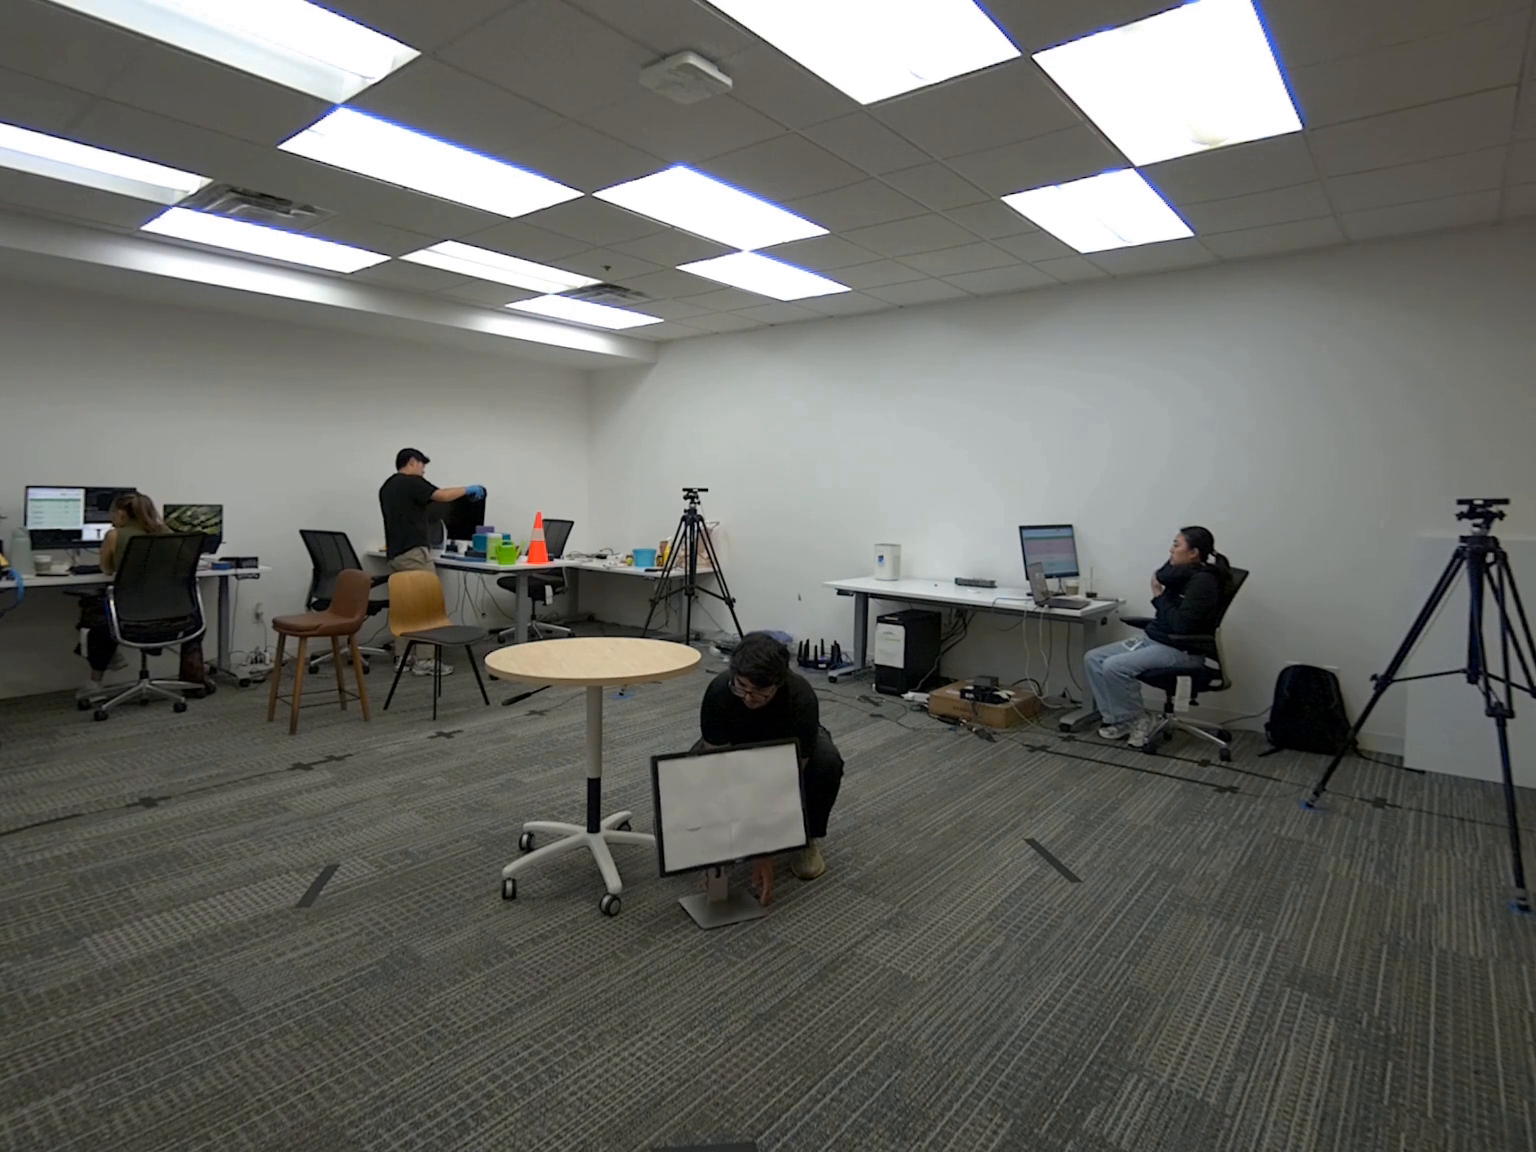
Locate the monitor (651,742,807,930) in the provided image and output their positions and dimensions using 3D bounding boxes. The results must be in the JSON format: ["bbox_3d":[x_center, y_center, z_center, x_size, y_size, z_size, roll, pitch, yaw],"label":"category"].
[{"bbox_3d":[-0.162,0.828,2.822,0.550,0.556,0.215,-1,-4,-31],"label":"monitor"}]
